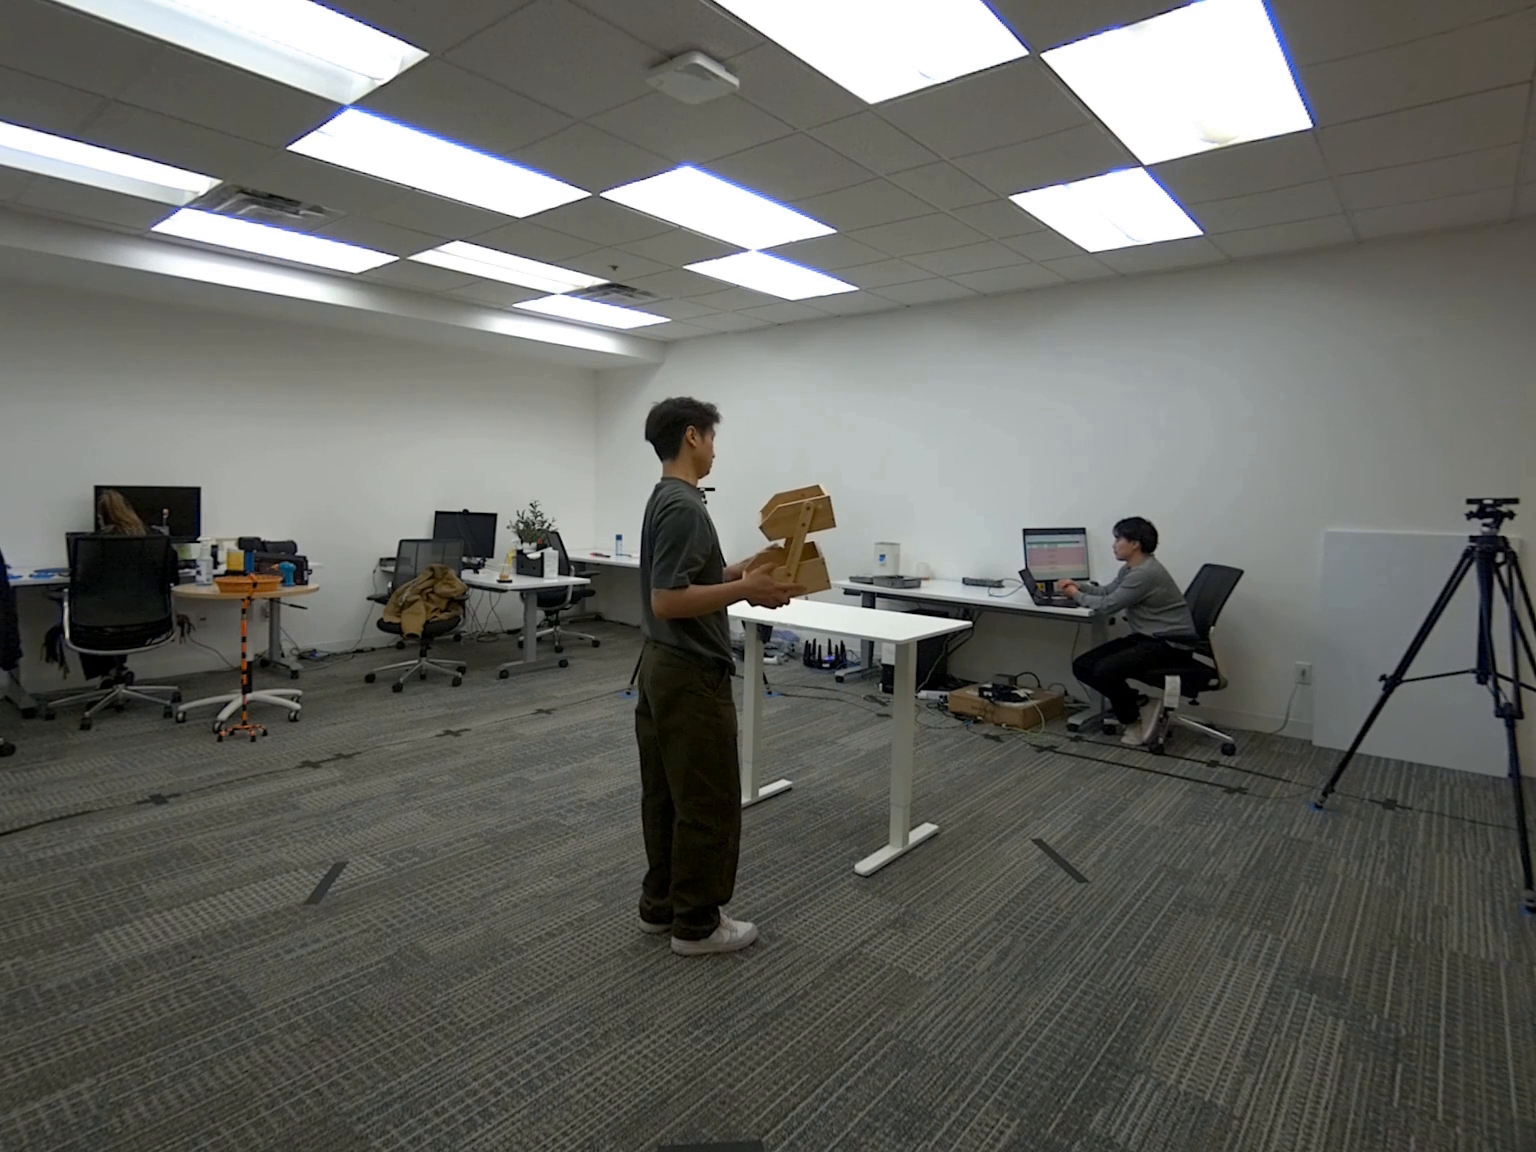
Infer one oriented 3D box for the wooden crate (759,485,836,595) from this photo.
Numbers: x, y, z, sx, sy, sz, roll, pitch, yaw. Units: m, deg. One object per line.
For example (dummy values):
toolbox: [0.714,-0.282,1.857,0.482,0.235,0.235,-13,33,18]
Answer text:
wooden crate: [0.041,-0.104,2.488,0.302,0.270,0.328,-13,10,1]
